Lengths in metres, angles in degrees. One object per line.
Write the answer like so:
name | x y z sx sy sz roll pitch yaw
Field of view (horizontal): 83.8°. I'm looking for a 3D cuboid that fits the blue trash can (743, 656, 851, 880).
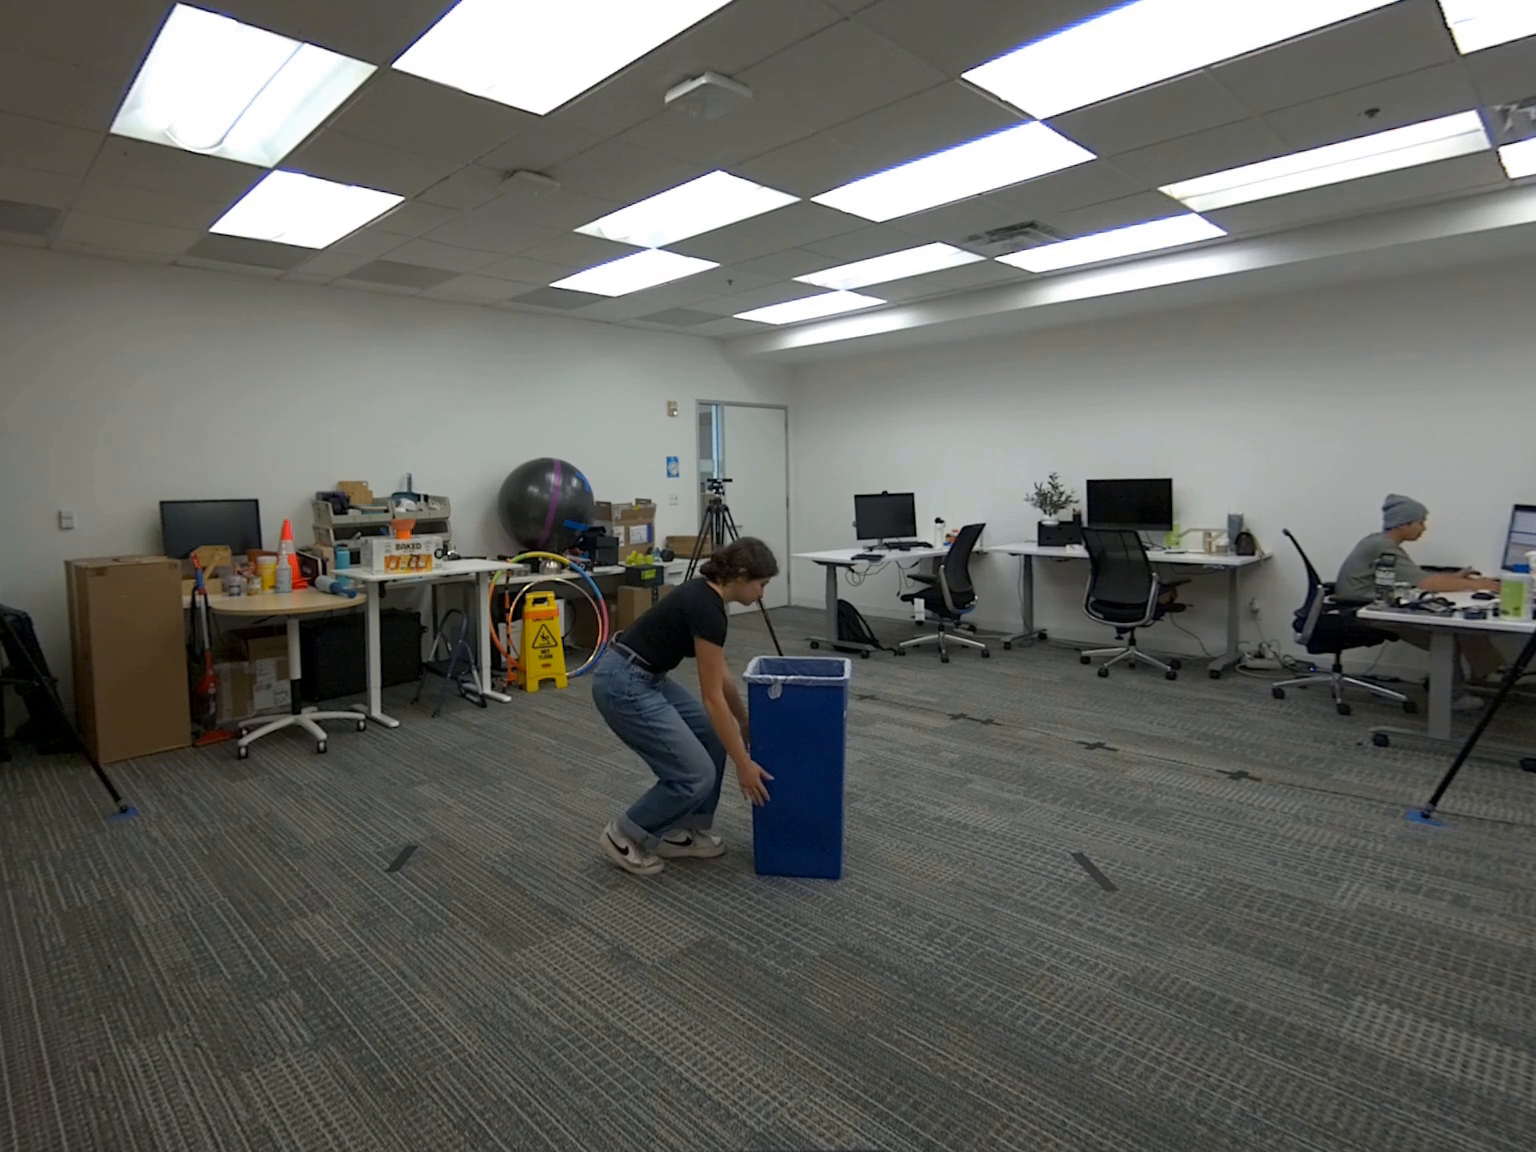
blue trash can | 0.110 0.677 3.121 0.382 0.711 0.372 0 4 9
